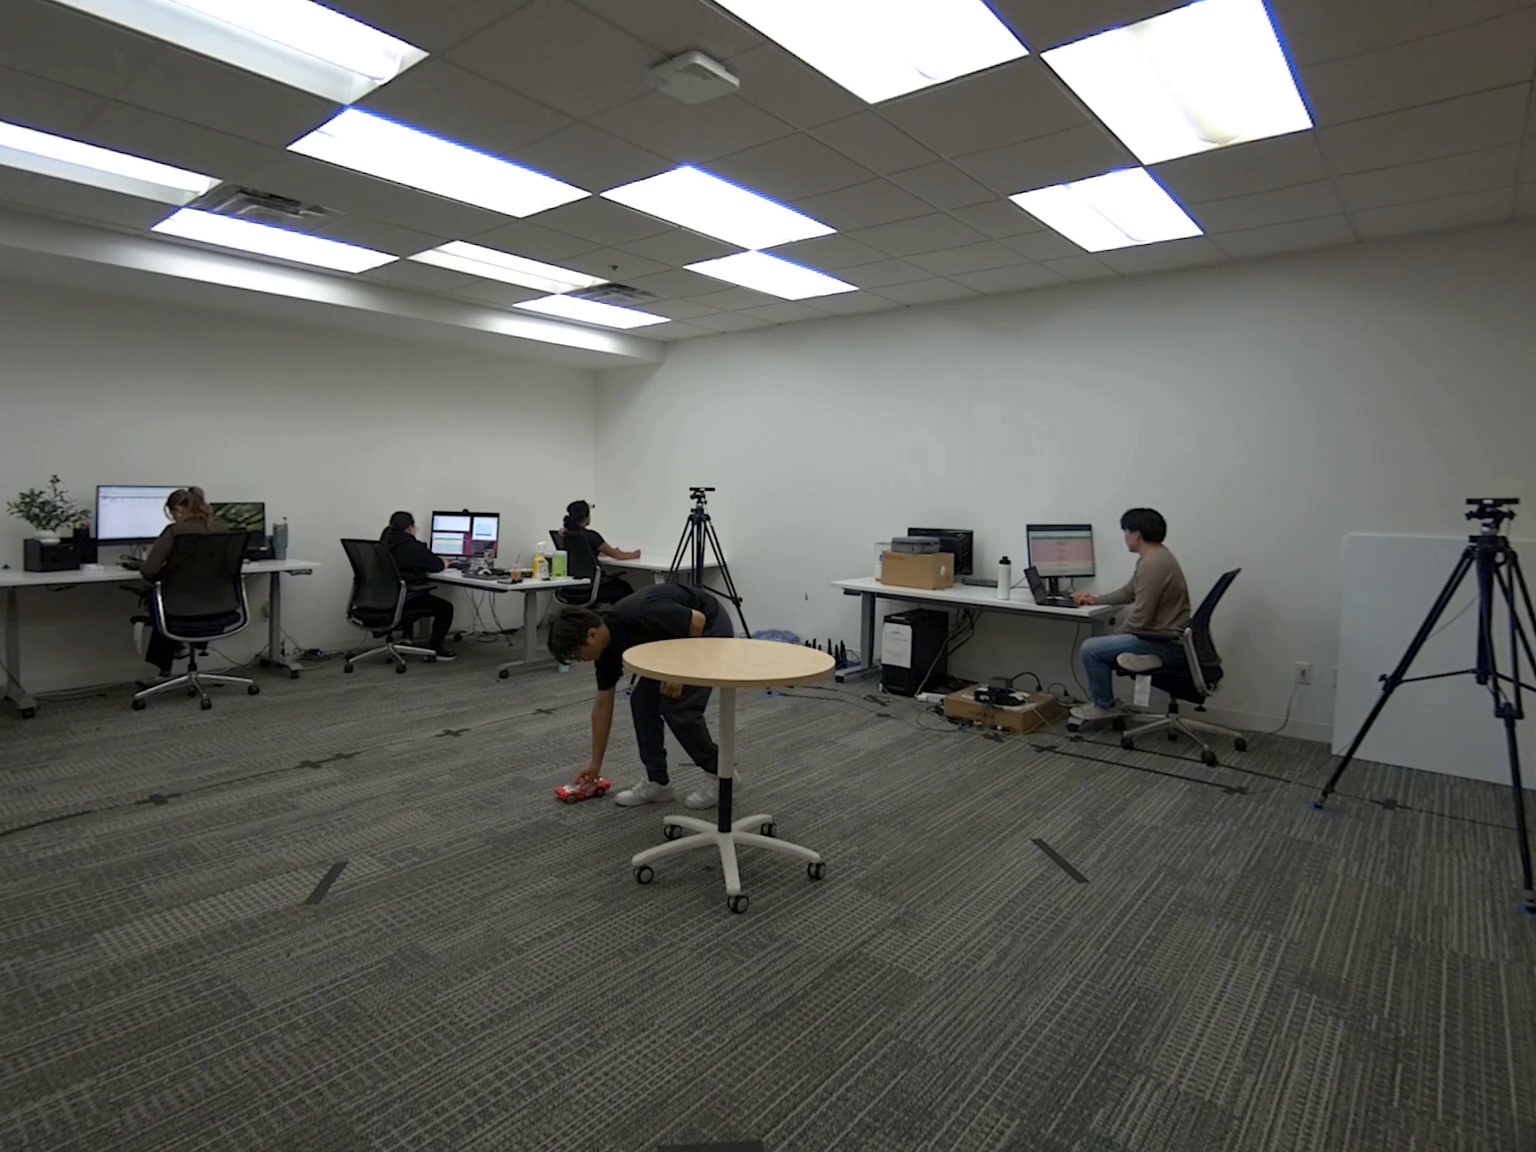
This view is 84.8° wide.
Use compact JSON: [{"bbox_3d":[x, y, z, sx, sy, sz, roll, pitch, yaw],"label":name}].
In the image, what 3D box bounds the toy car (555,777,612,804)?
[{"bbox_3d":[-0.839,0.960,3.830,0.249,0.082,0.134,-16,13,-34],"label":"toy car"}]
